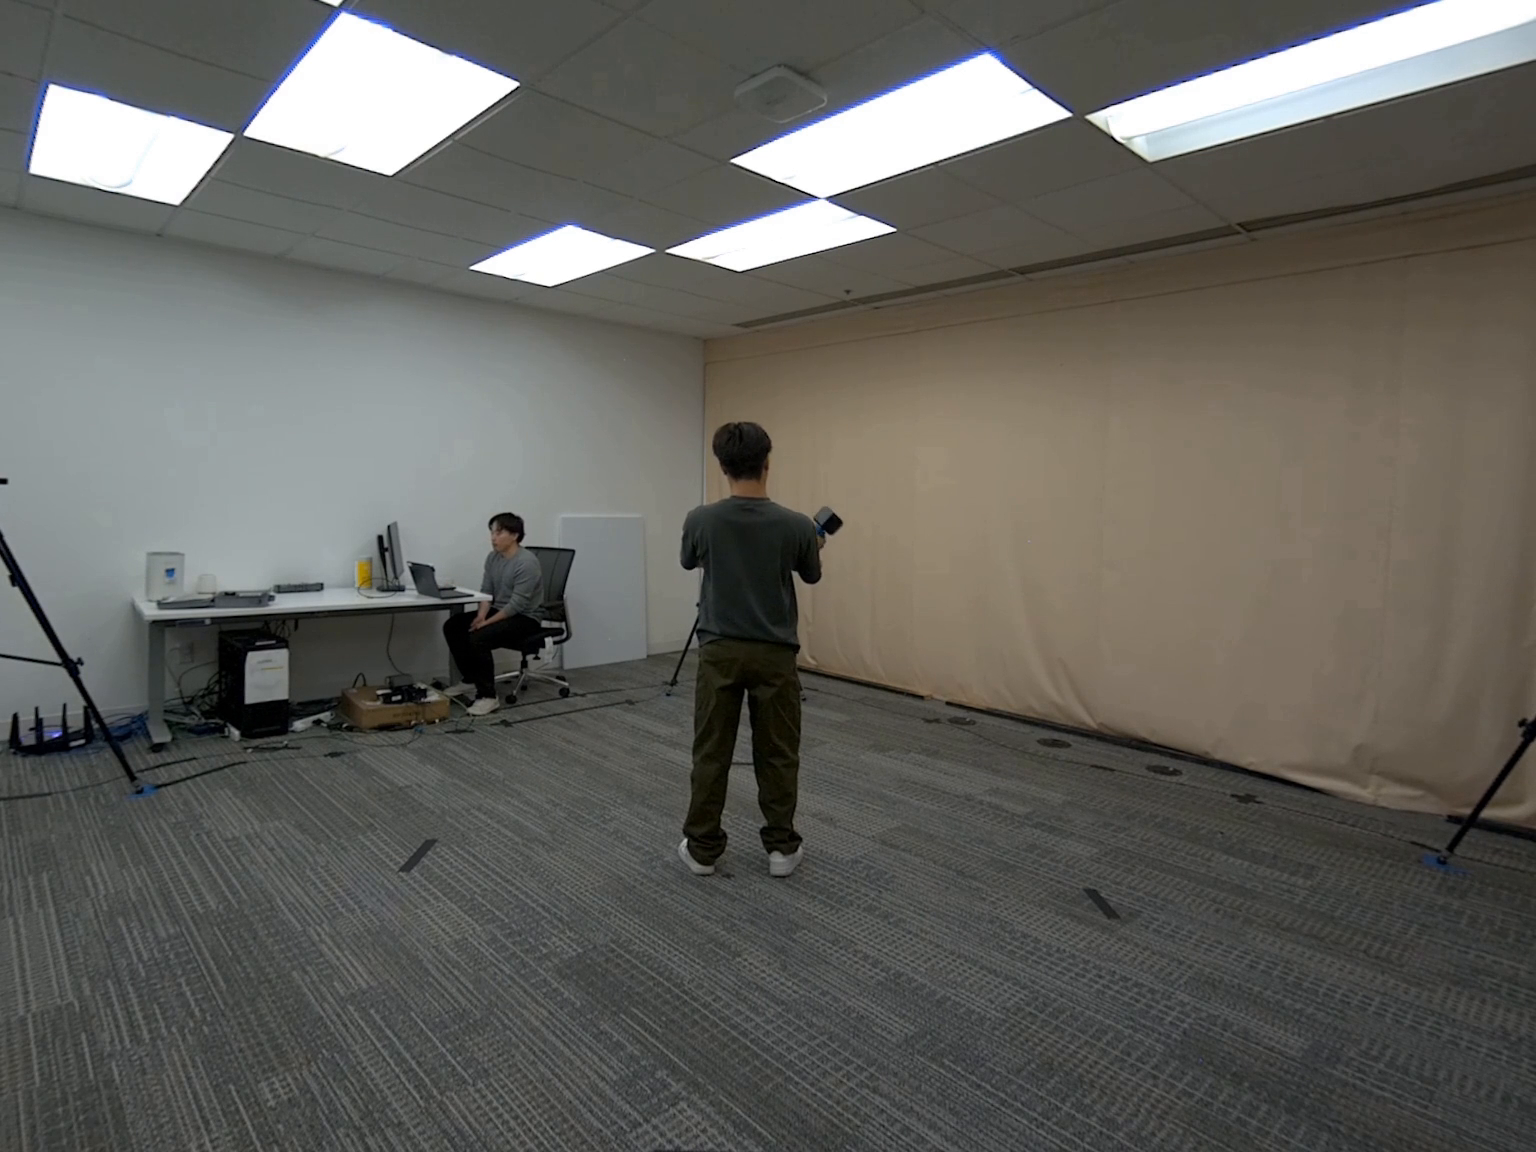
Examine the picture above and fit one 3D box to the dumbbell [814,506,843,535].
[{"bbox_3d":[0.174,-0.152,3.507,0.127,0.293,0.105,49,9,37],"label":"dumbbell"}]
